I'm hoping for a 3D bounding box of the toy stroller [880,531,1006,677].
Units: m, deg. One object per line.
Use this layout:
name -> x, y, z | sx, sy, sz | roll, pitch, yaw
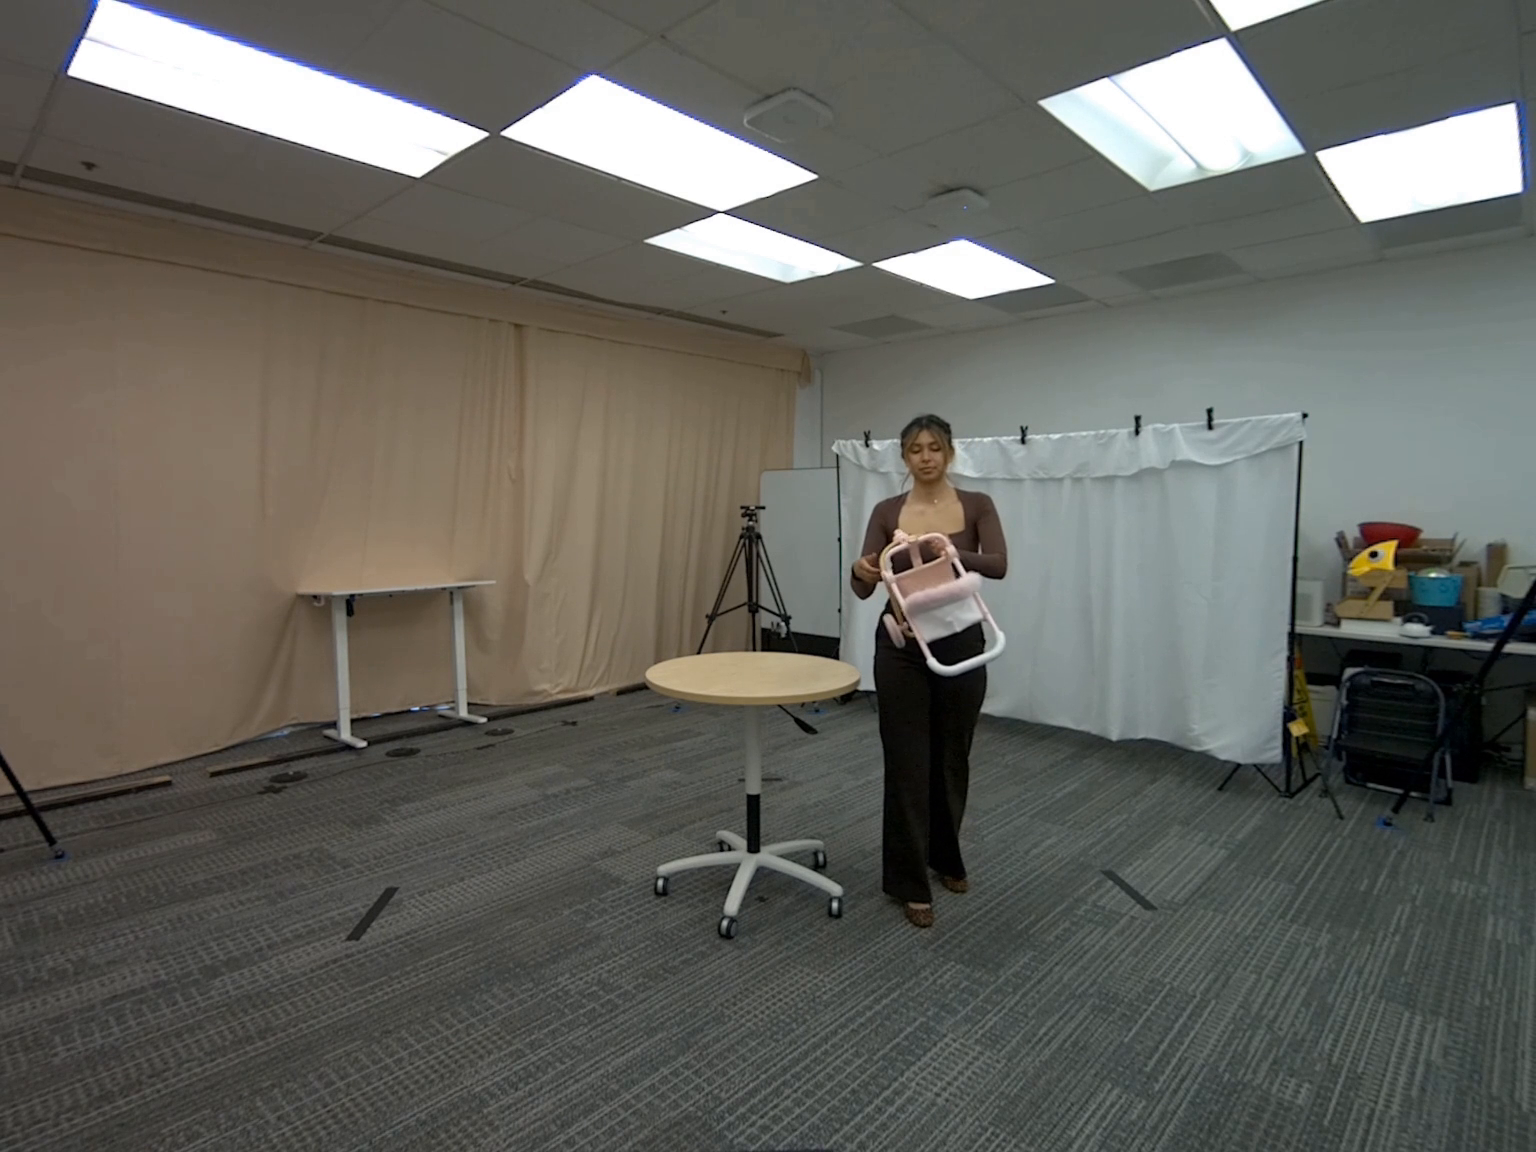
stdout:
toy stroller -> 0.472, 0.044, 2.402 | 0.282, 0.340, 0.536 | -17, 6, 3
